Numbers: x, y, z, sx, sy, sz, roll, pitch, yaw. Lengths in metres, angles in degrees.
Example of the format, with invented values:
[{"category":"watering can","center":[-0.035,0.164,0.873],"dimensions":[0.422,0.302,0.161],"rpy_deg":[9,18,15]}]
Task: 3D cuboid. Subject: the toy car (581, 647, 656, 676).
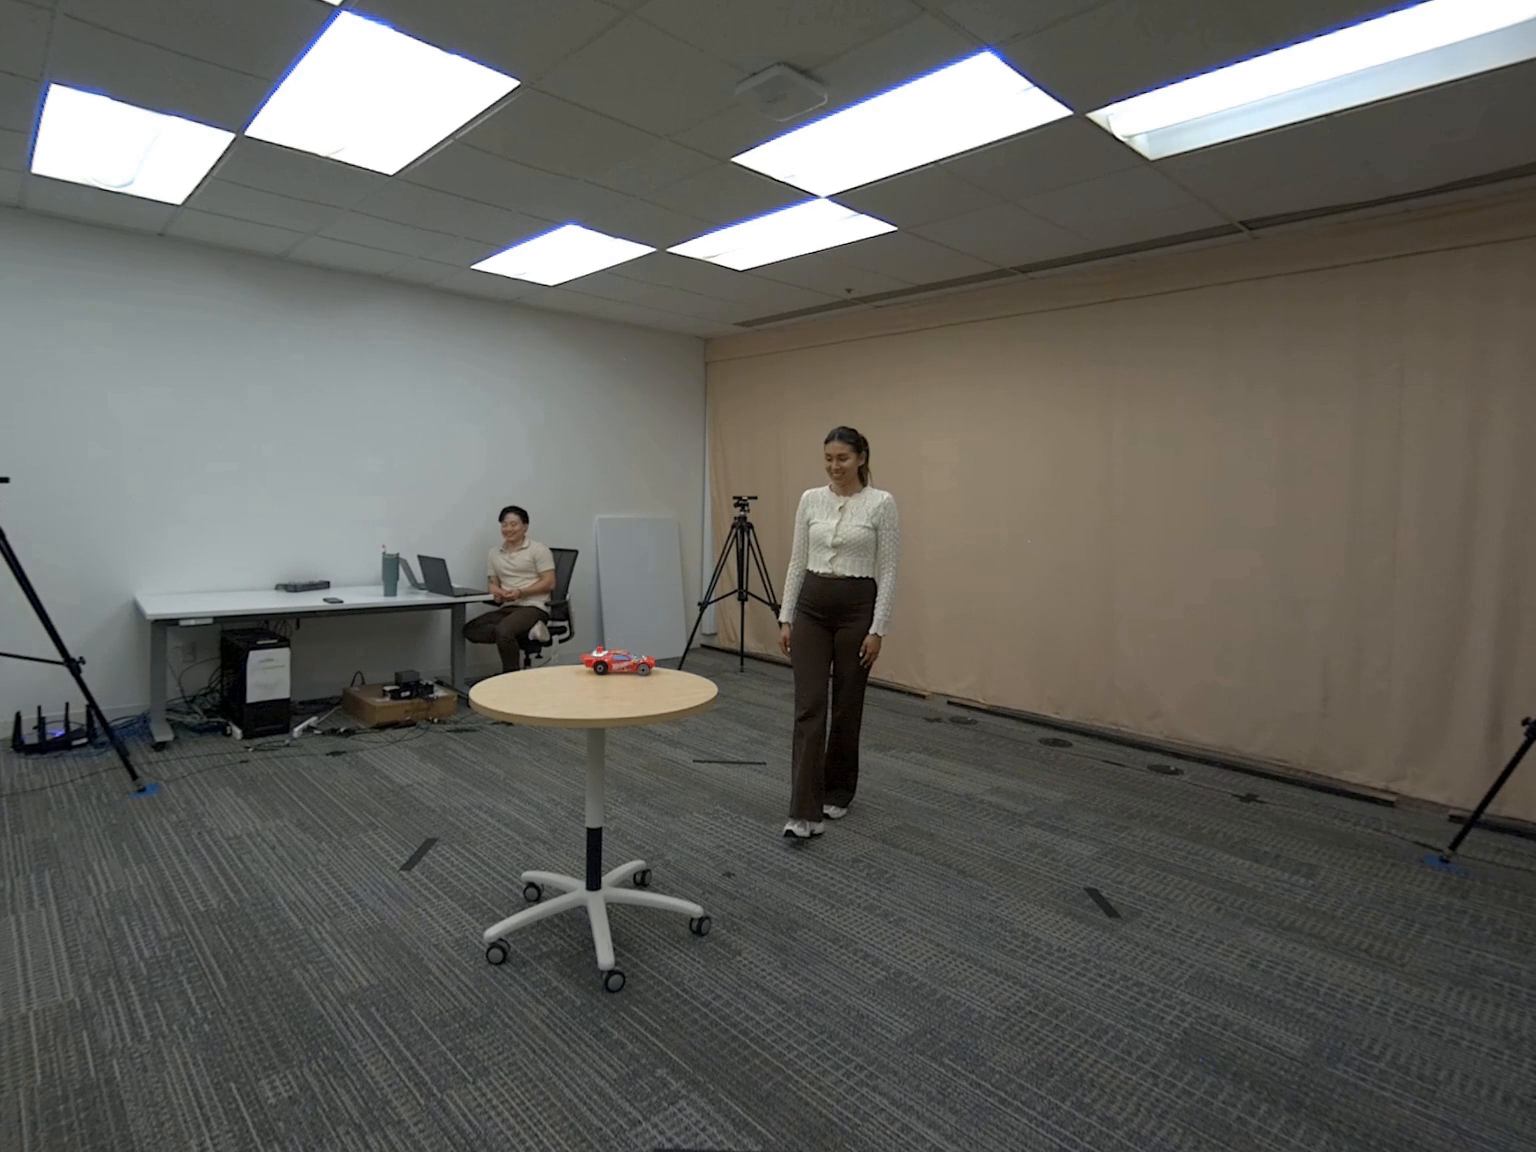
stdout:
[{"category":"toy car","center":[-0.538,0.299,2.888],"dimensions":[0.254,0.083,0.130],"rpy_deg":[14,3,0]}]
